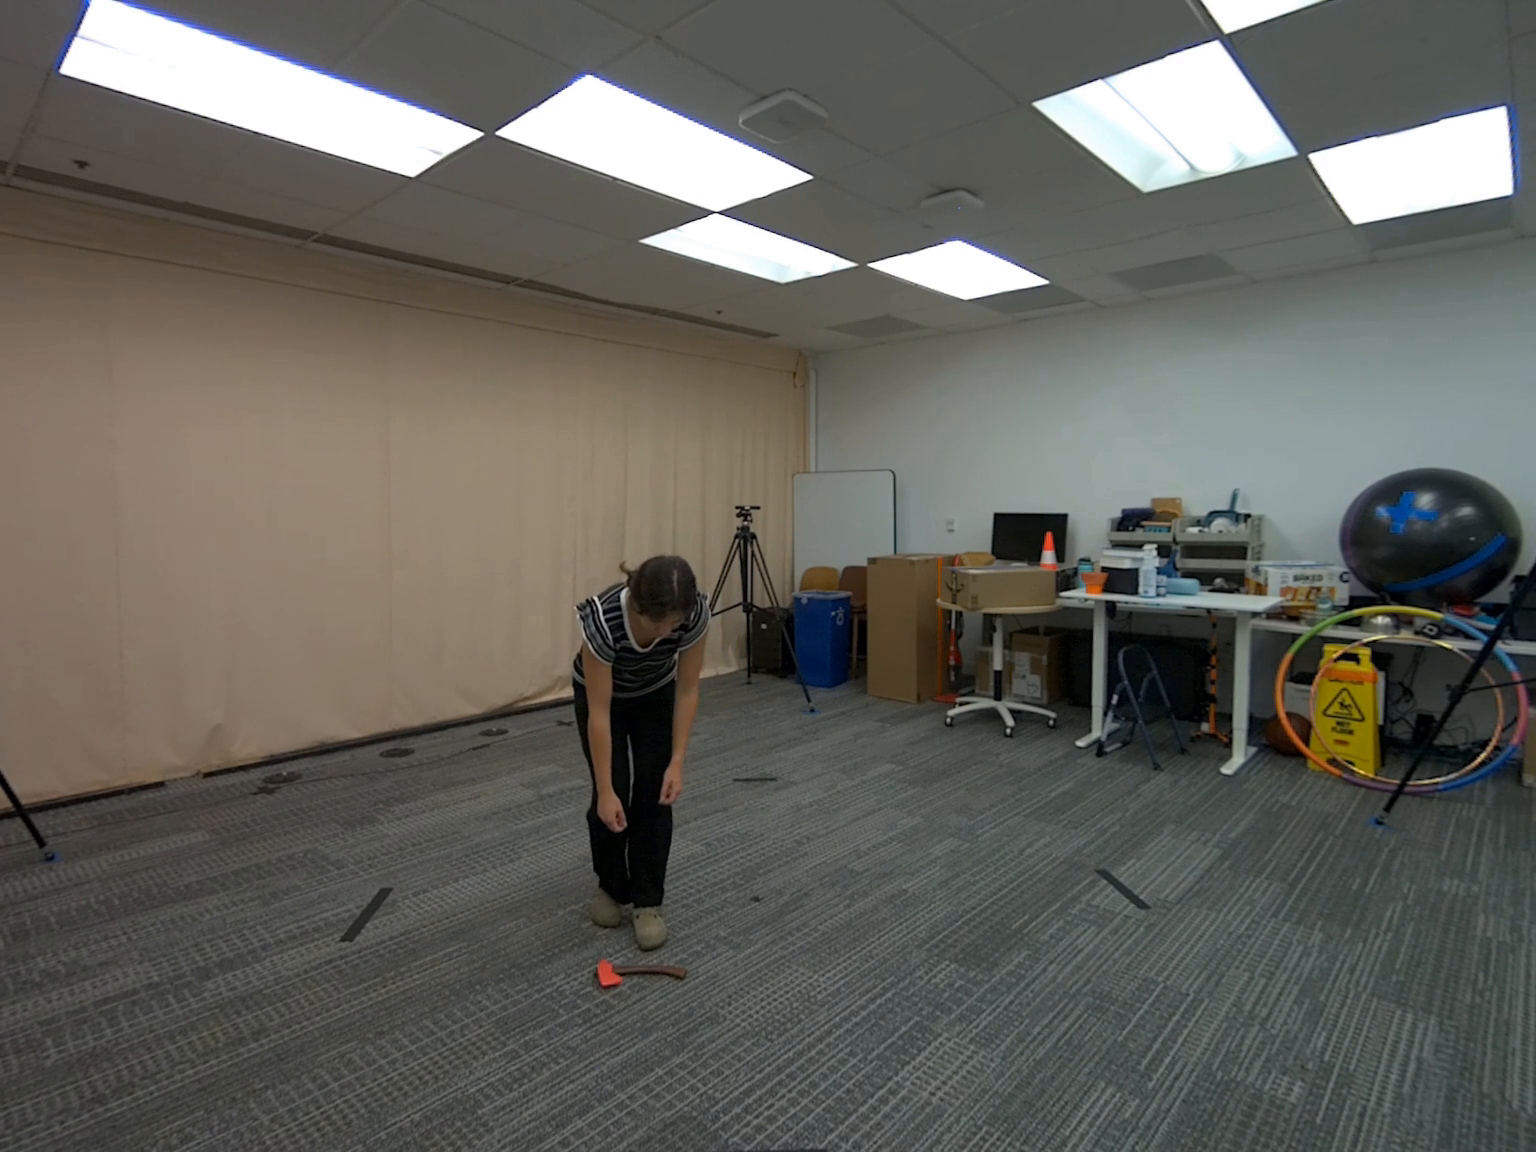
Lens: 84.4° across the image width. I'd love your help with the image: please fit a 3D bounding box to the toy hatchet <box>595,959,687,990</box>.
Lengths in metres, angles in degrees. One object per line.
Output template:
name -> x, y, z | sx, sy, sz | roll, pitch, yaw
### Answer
toy hatchet -> -0.379, 1.176, 2.472 | 0.273, 0.029, 0.130 | 1, 3, 10
